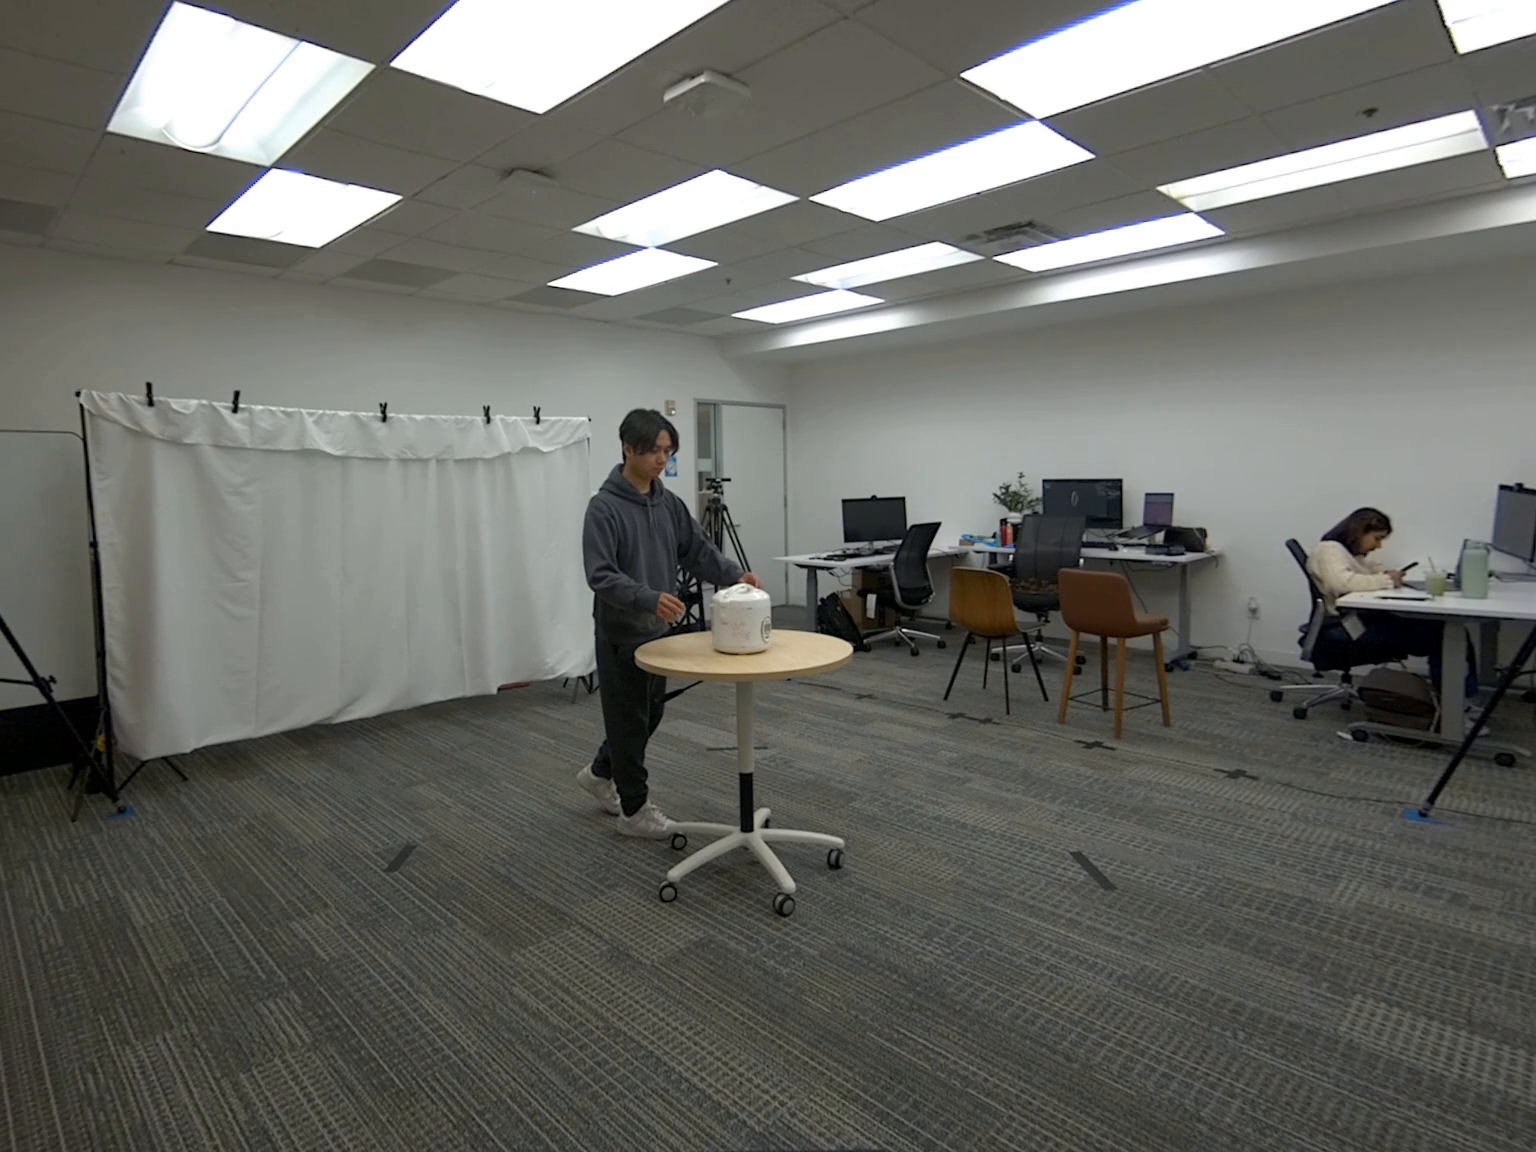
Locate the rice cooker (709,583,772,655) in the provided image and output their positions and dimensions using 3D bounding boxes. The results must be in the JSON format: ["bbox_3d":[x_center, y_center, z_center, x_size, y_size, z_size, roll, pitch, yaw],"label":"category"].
[{"bbox_3d":[-0.091,0.143,2.983,0.223,0.232,0.215,1,6,34],"label":"rice cooker"}]
